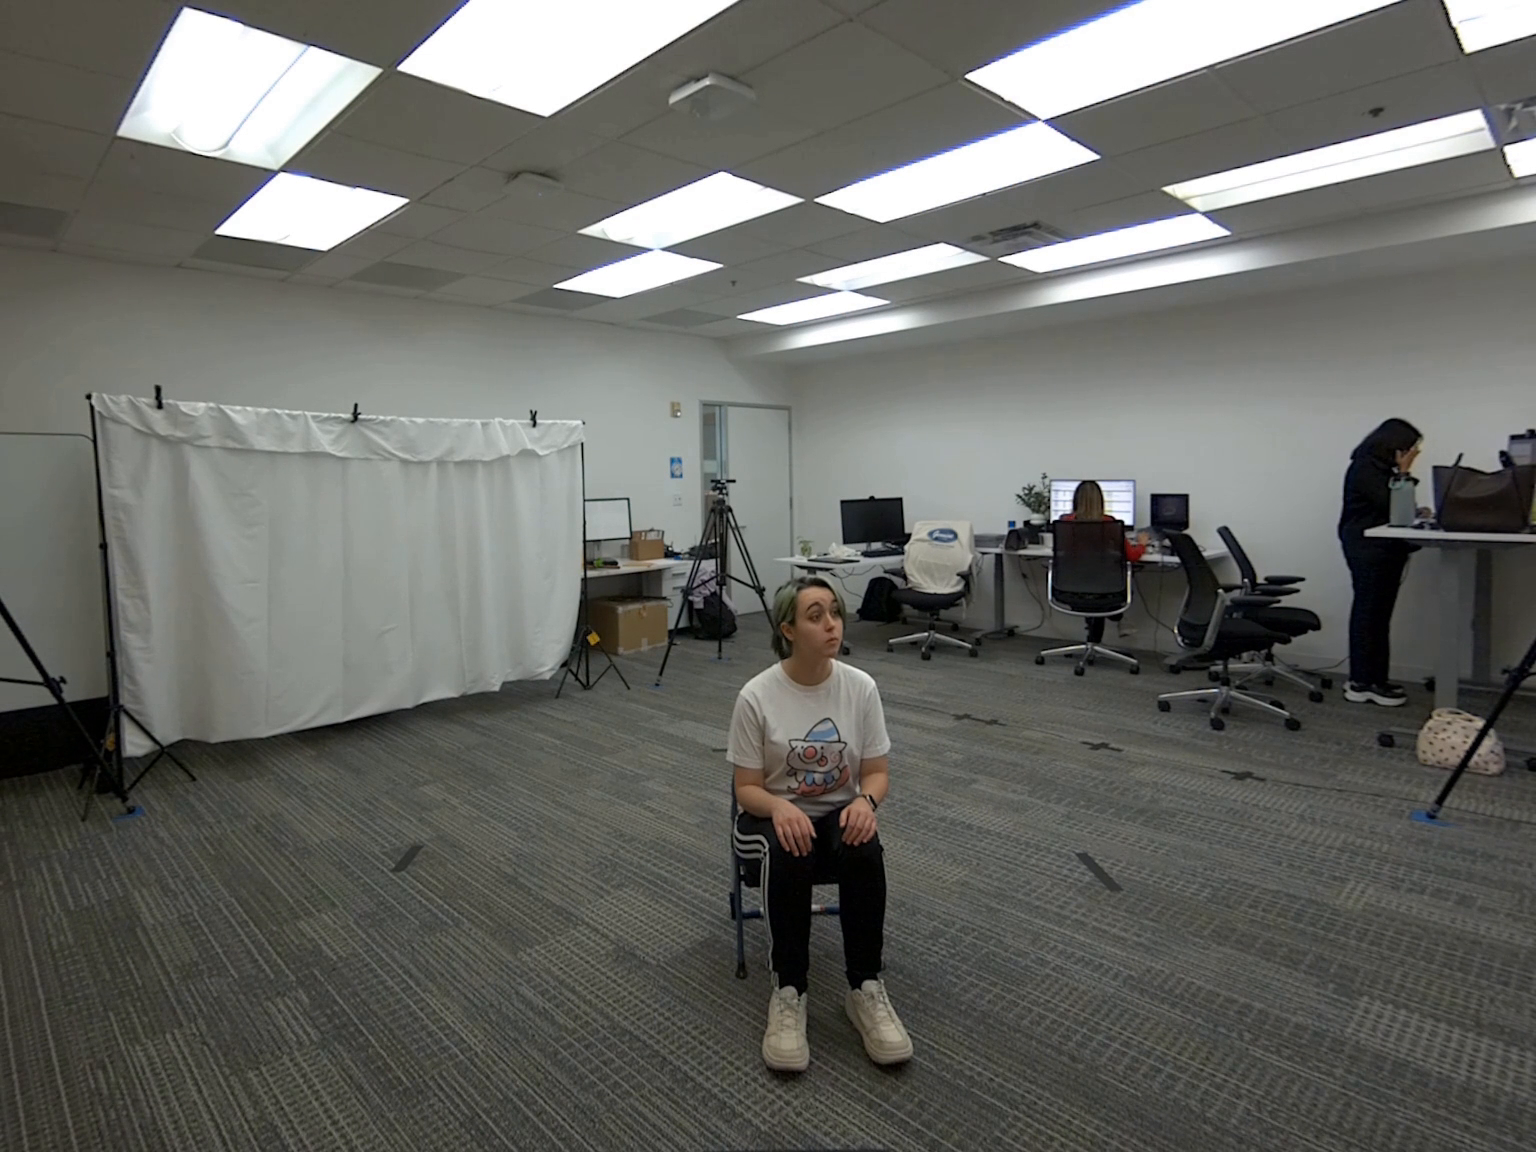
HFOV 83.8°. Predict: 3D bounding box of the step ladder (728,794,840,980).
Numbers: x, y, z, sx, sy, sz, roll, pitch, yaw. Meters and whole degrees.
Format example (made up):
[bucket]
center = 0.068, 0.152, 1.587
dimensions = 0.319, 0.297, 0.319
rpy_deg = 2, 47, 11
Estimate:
[step ladder]
center = 0.108, 0.811, 2.567
dimensions = 0.429, 0.603, 0.353
rpy_deg = -2, 5, -5
